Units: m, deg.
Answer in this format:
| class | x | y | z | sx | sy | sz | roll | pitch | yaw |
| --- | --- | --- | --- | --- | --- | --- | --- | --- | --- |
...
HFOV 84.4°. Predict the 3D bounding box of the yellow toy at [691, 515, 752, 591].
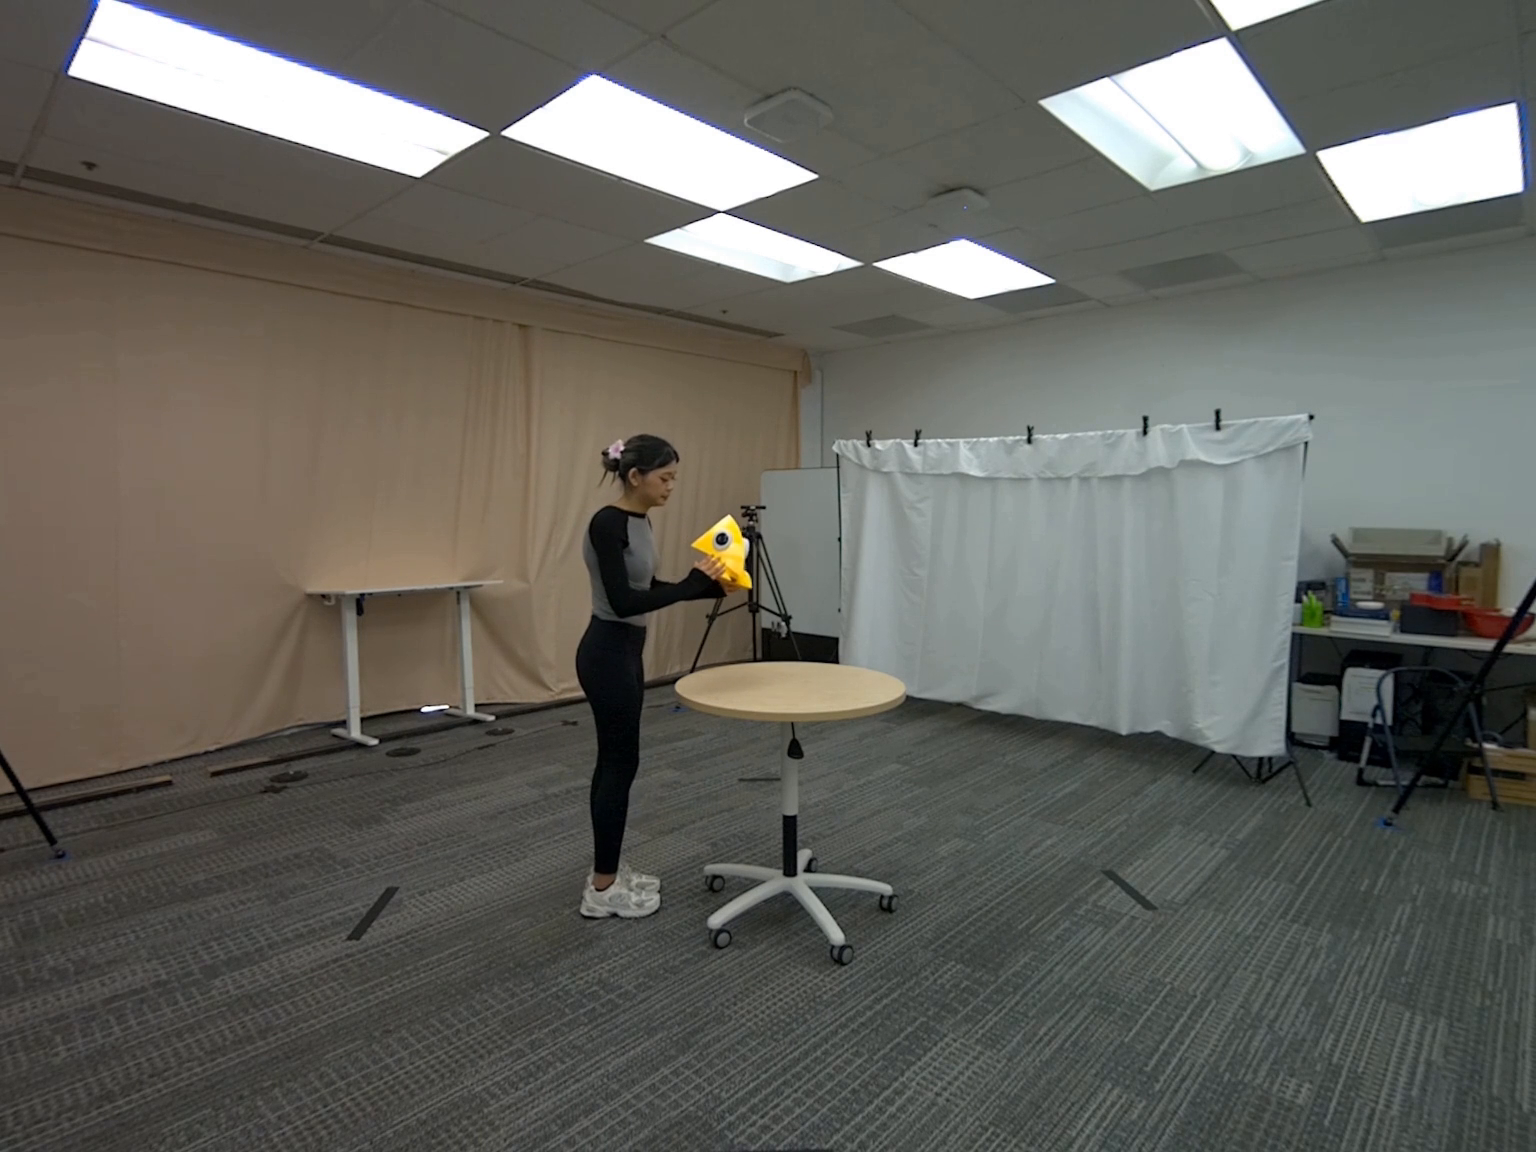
| class | x | y | z | sx | sy | sz | roll | pitch | yaw |
| --- | --- | --- | --- | --- | --- | --- | --- | --- | --- |
| yellow toy | -0.125 | -0.094 | 2.947 | 0.197 | 0.231 | 0.200 | 22 | -7 | -43 |
